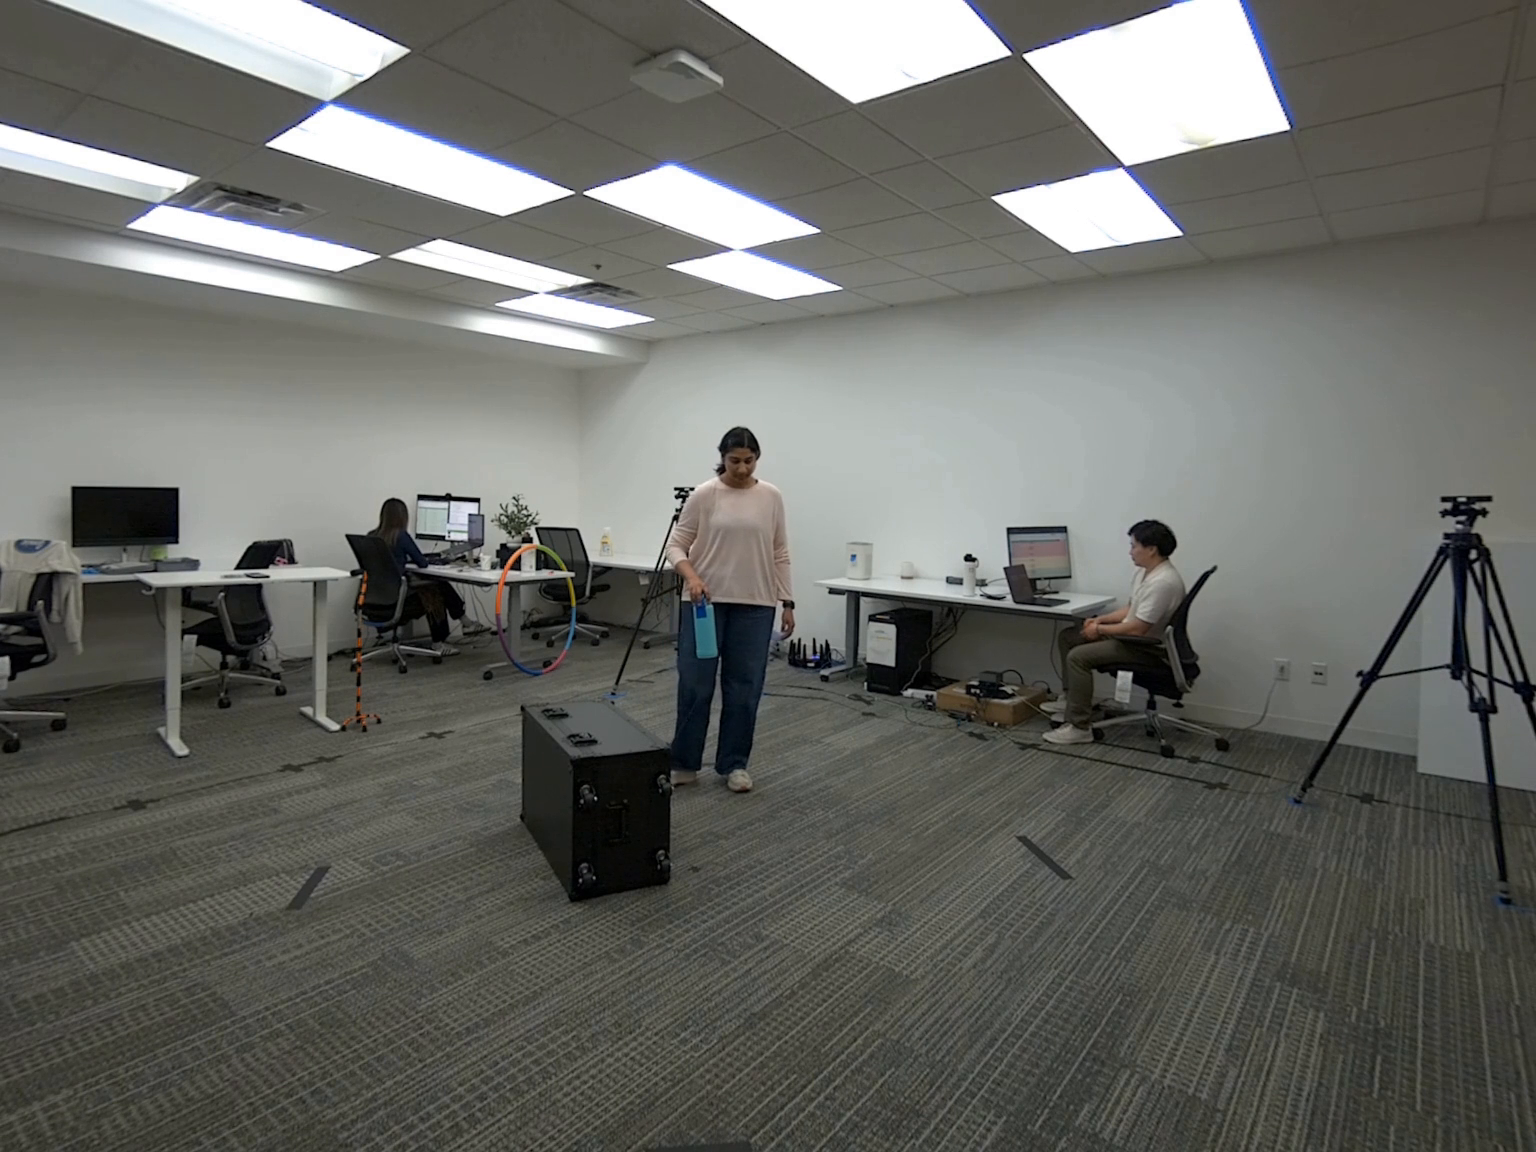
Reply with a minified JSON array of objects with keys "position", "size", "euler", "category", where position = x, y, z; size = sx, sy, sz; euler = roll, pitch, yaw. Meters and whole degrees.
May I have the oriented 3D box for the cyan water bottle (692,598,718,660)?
[{"position":[-0.292,0.208,3.729],"size":[0.092,0.283,0.092],"euler":[-4,1,-2],"category":"cyan water bottle"}]
